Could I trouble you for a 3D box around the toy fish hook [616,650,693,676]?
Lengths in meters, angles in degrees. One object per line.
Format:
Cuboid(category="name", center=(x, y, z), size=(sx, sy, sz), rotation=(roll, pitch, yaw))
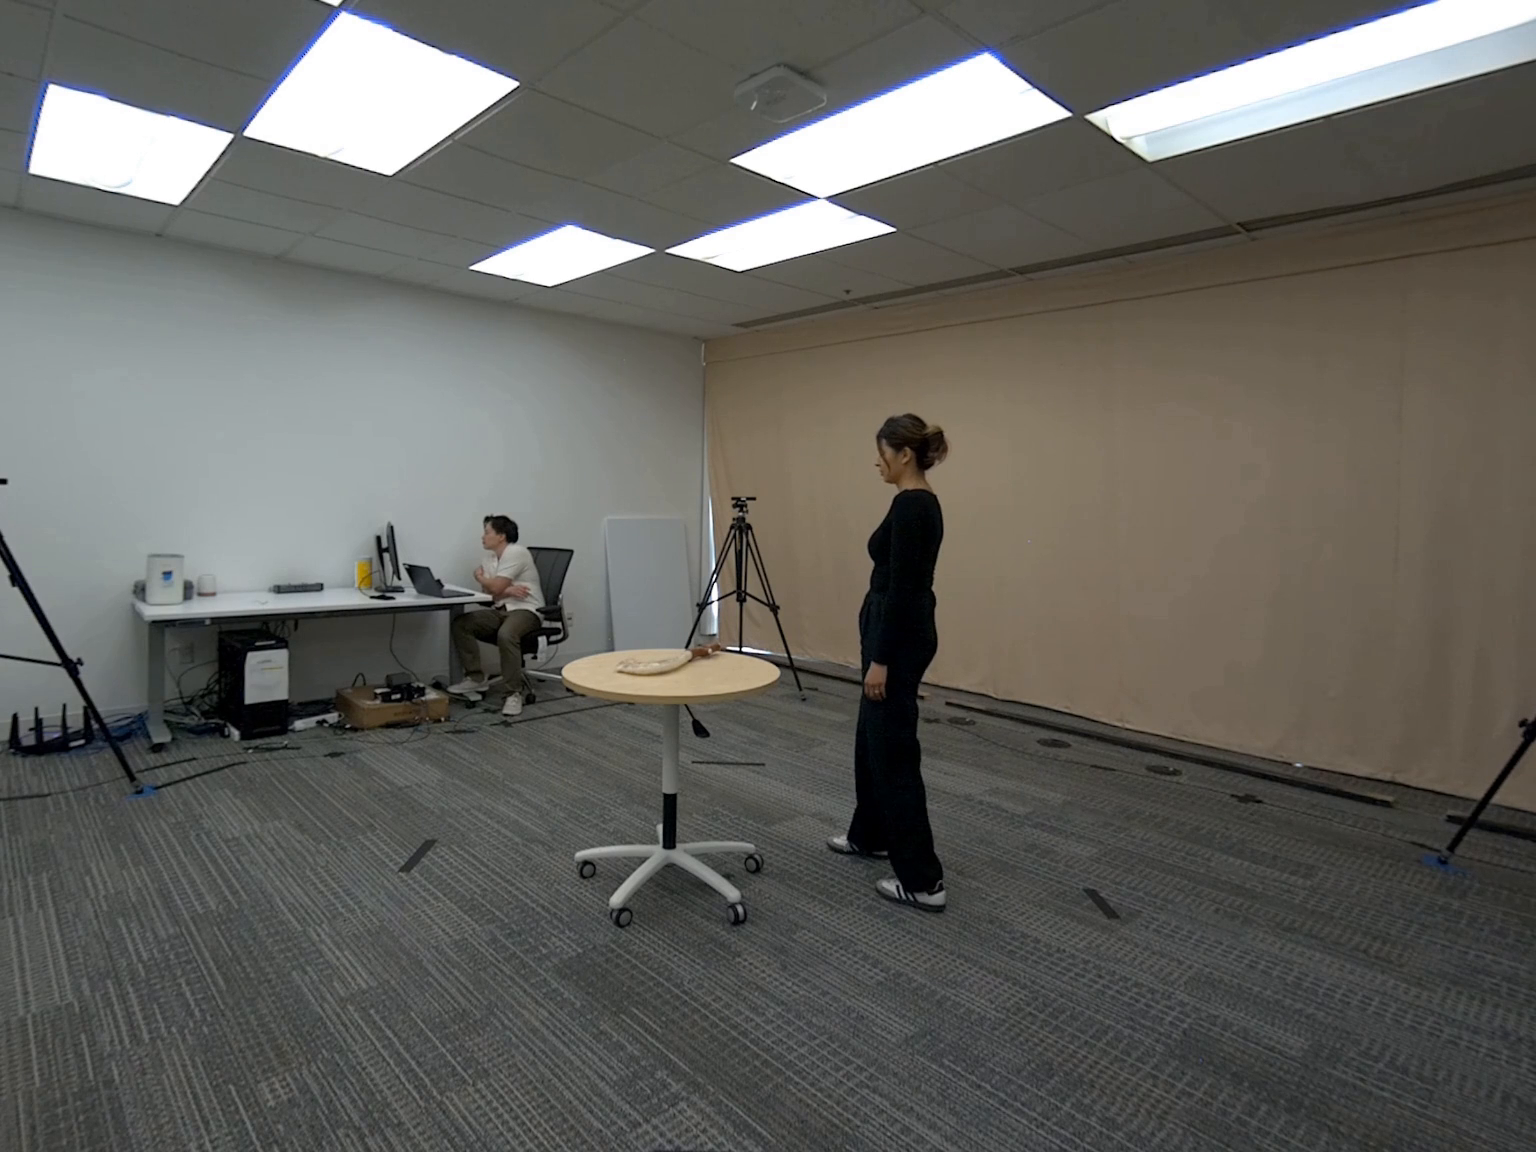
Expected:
Cuboid(category="toy fish hook", center=(-0.368, 0.296, 3.086), size=(0.229, 0.048, 0.498), rotation=(6, 8, 28))
